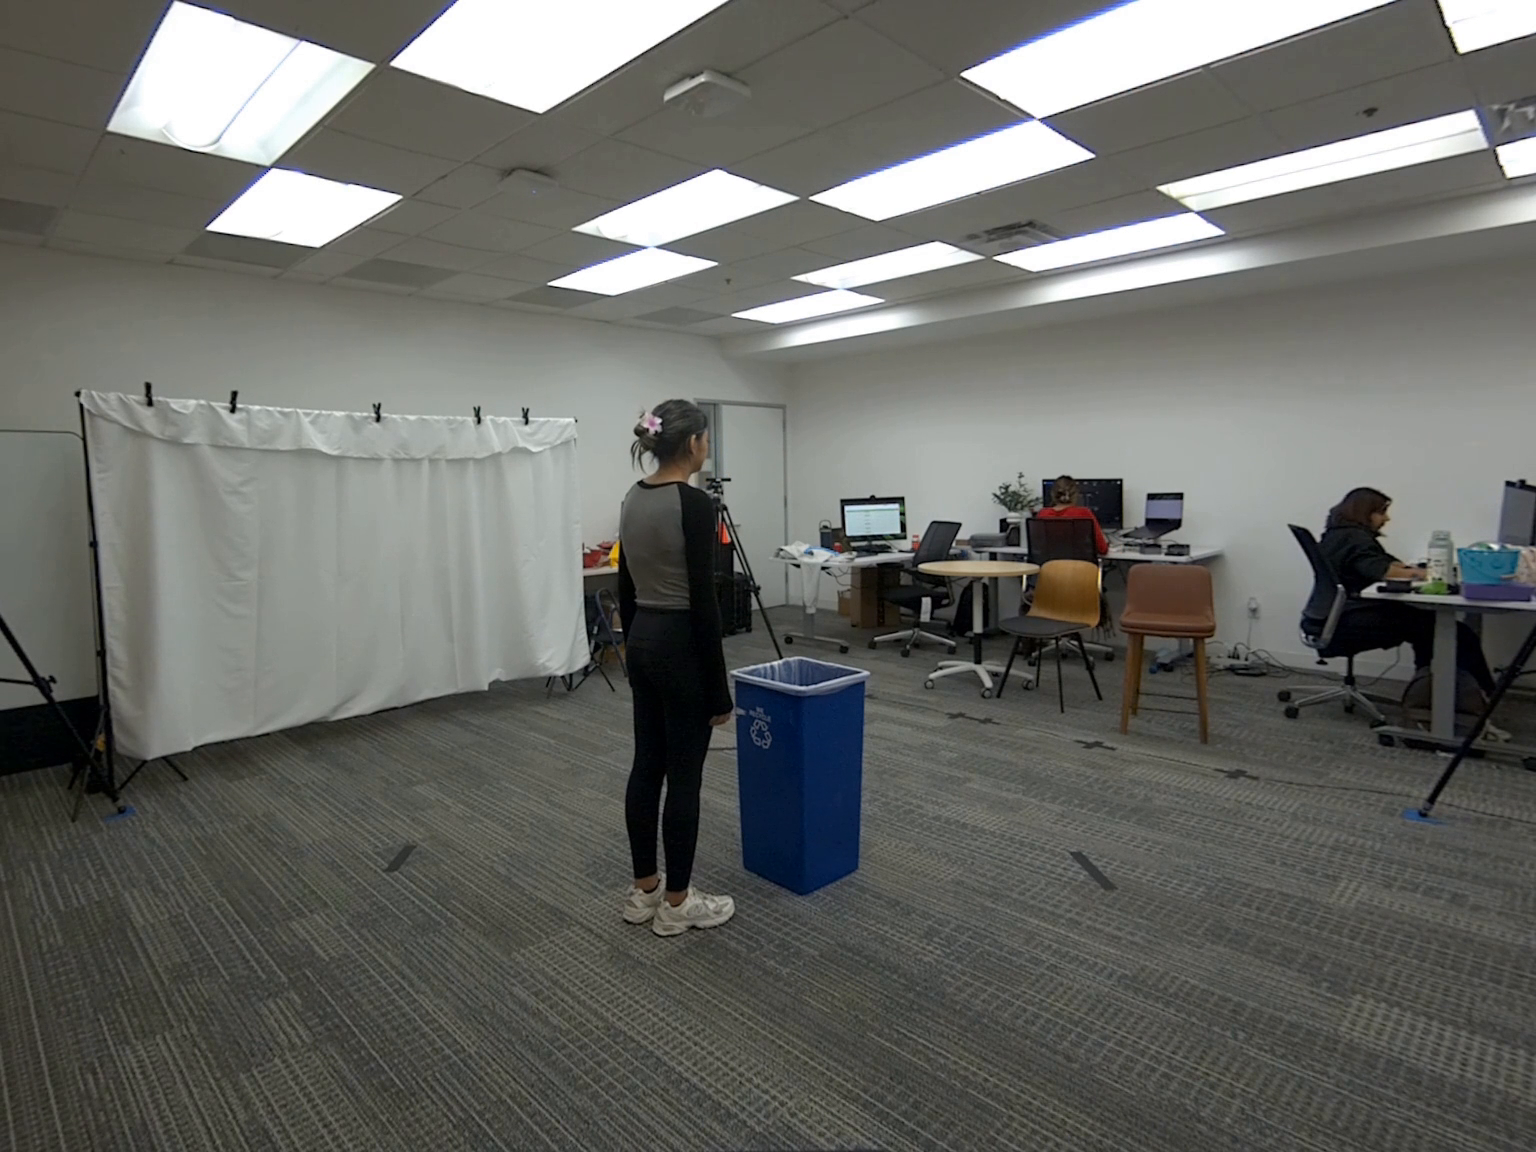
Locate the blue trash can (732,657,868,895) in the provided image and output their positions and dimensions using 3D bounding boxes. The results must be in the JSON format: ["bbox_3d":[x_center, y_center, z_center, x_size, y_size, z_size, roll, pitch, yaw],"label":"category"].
[{"bbox_3d":[0.124,0.690,3.031,0.368,0.711,0.385,-5,6,-43],"label":"blue trash can"}]
